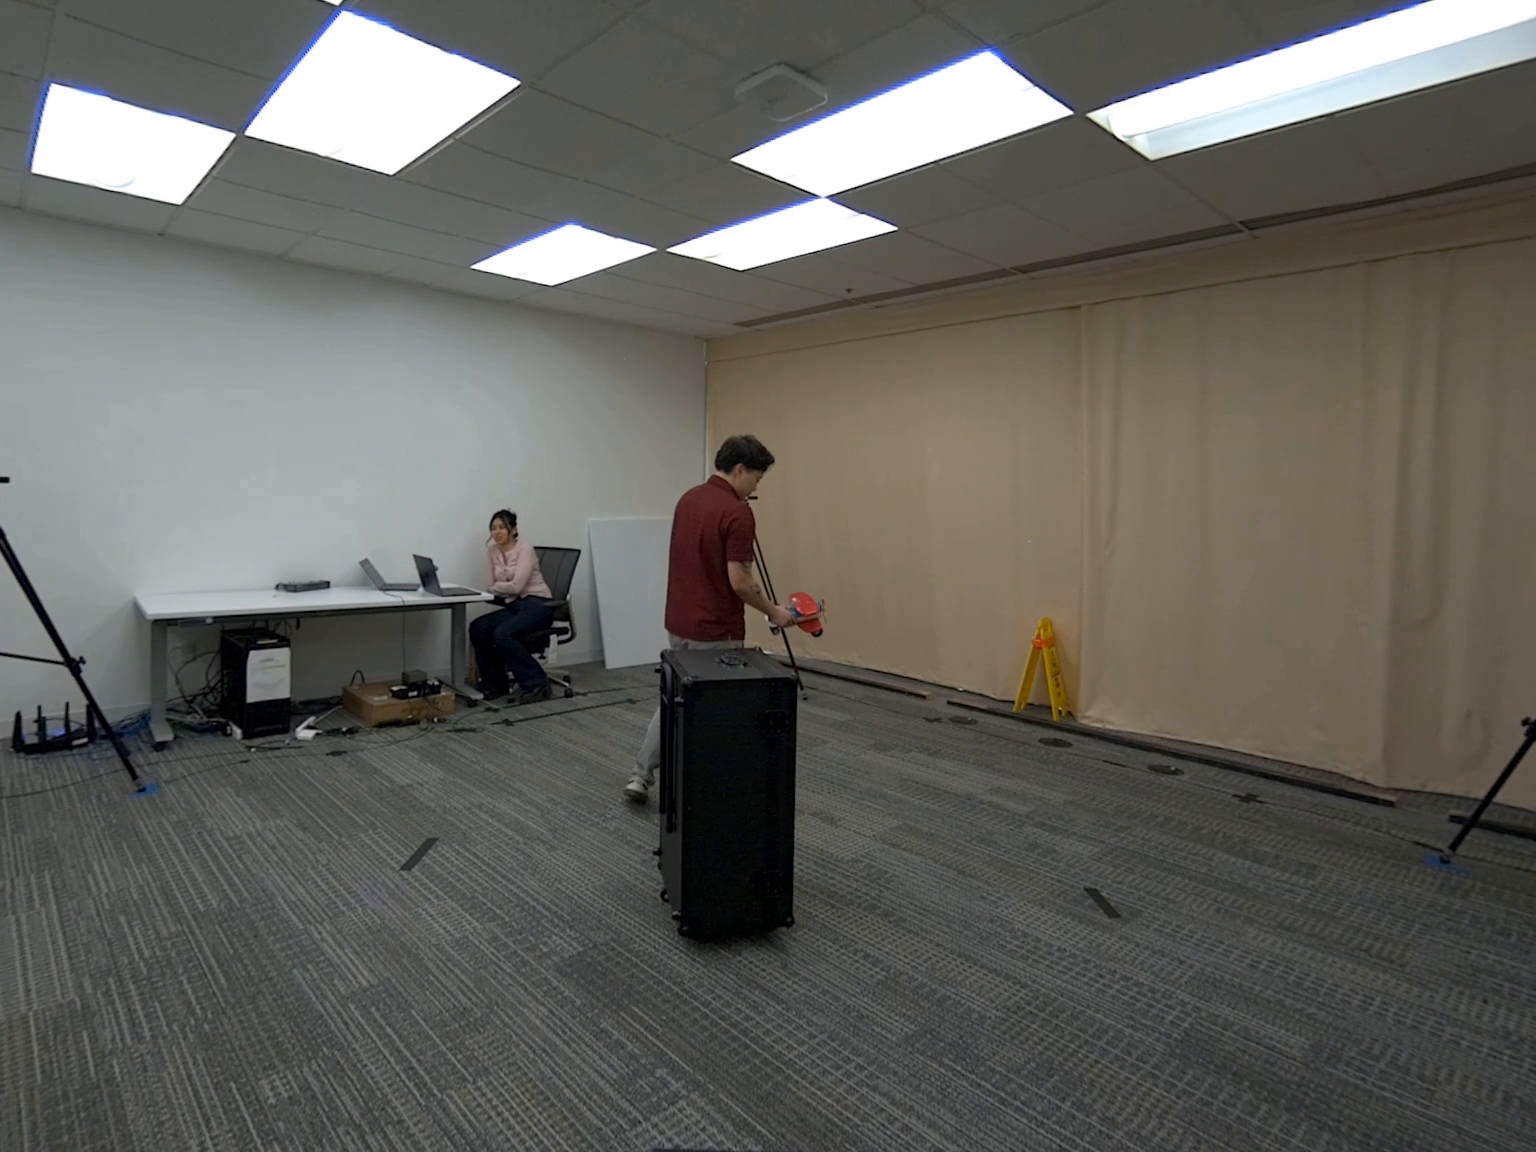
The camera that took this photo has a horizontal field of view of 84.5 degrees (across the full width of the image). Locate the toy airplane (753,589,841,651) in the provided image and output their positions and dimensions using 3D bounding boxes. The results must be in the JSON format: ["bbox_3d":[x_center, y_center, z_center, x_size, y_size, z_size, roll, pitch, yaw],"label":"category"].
[{"bbox_3d":[0.120,0.181,3.640,0.254,0.155,0.259,-8,20,-38],"label":"toy airplane"}]
